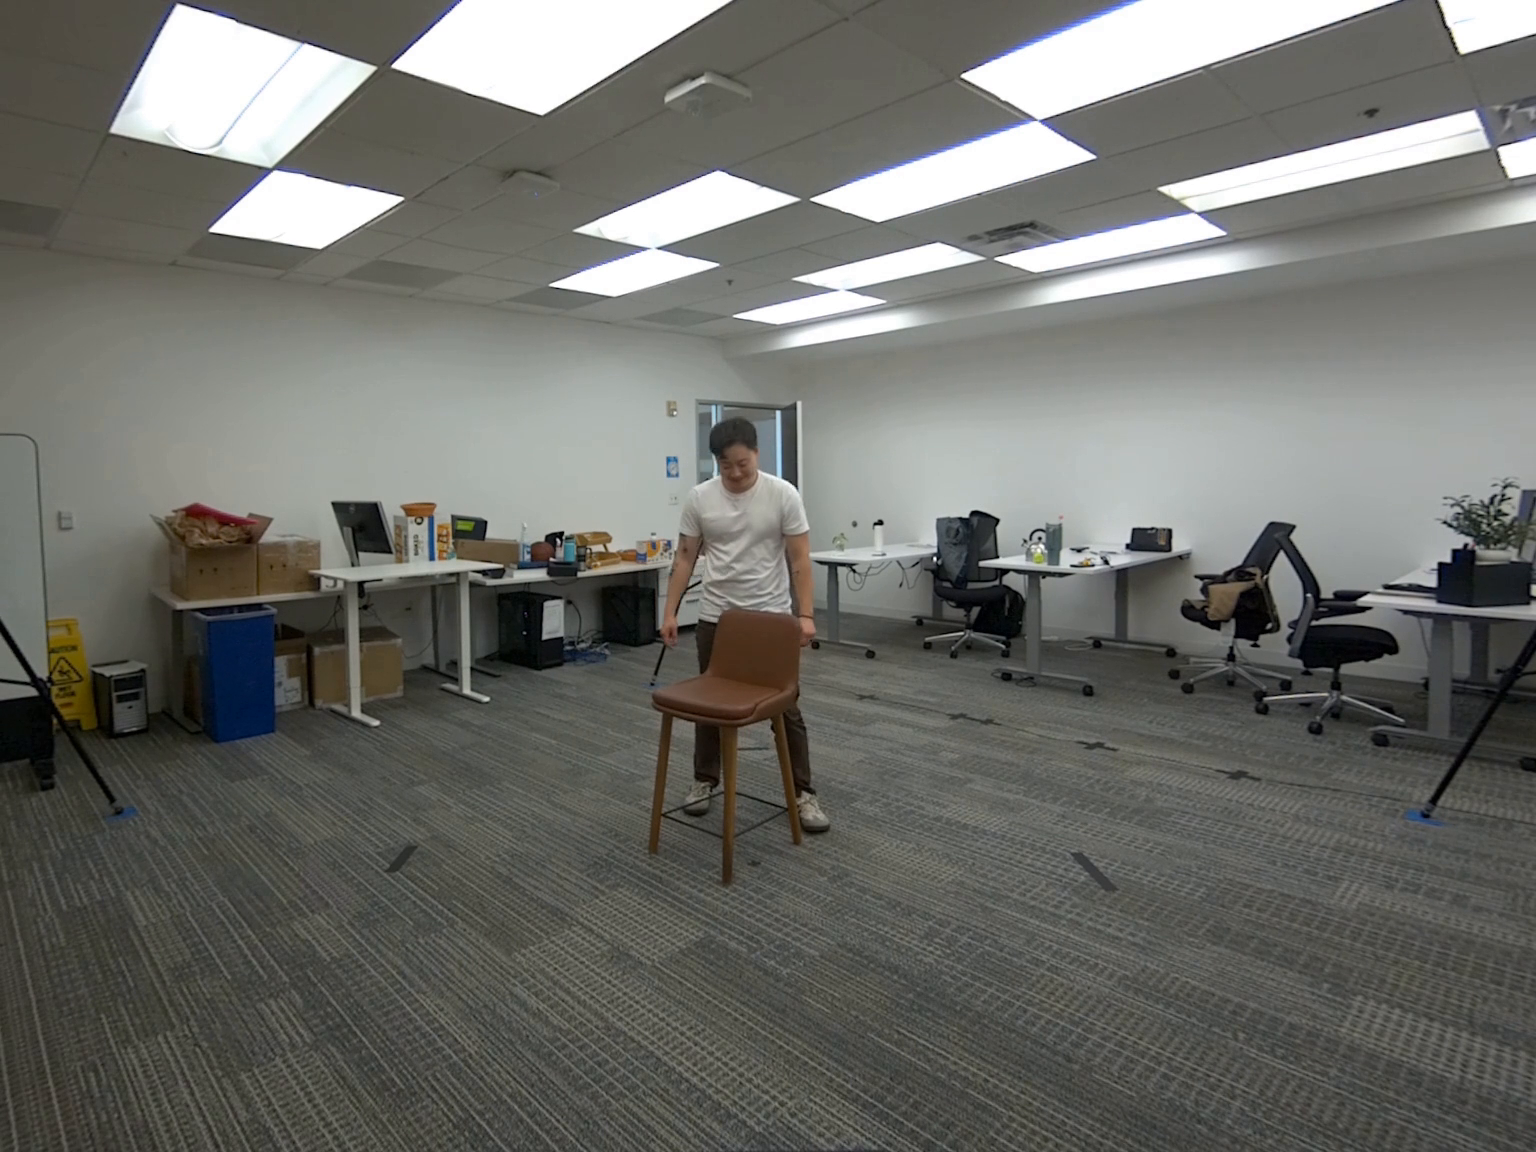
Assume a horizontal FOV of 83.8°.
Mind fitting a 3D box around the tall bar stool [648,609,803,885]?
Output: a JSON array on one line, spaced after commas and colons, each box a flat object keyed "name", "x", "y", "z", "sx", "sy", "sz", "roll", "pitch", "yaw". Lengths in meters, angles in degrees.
[{"name": "tall bar stool", "x": -0.154, "y": 0.599, "z": 3.215, "sx": 0.470, "sy": 0.888, "sz": 0.454, "roll": 3, "pitch": 3, "yaw": 41}]
